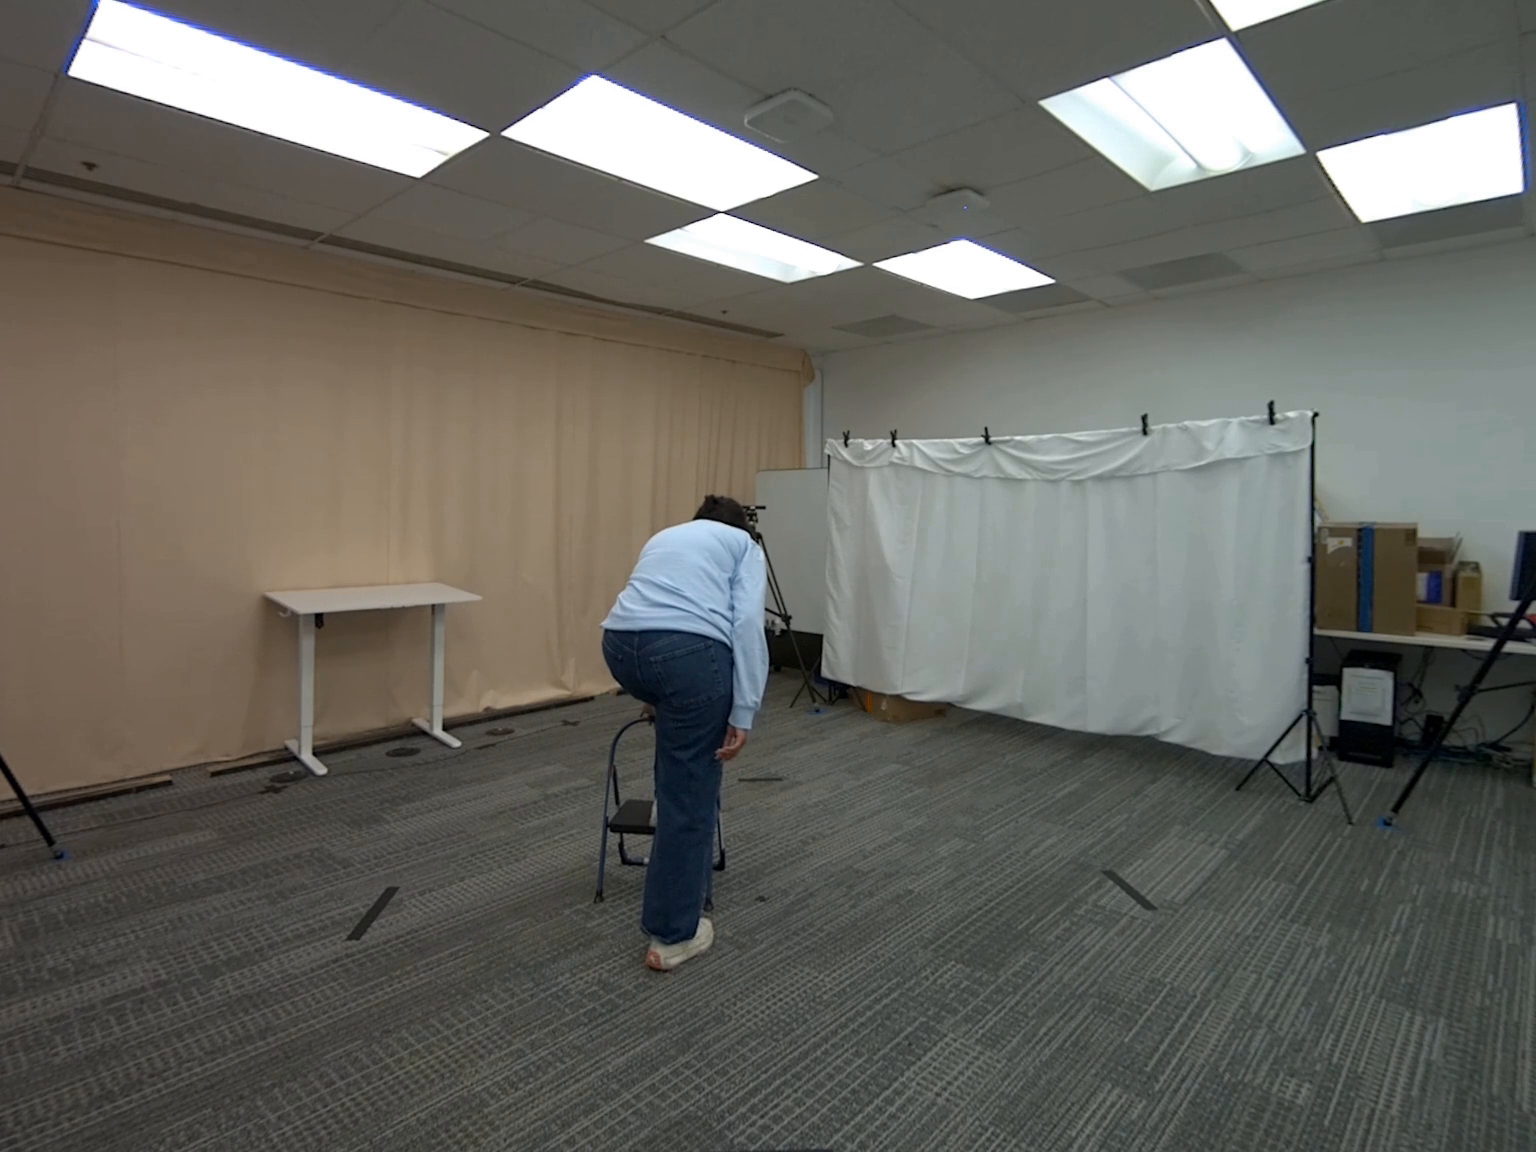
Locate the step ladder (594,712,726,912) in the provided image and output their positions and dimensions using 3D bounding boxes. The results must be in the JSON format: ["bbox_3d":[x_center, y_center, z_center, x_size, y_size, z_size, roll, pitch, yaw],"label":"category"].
[{"bbox_3d":[-0.387,0.837,3.084,0.435,0.605,0.346,0,3,8],"label":"step ladder"}]
